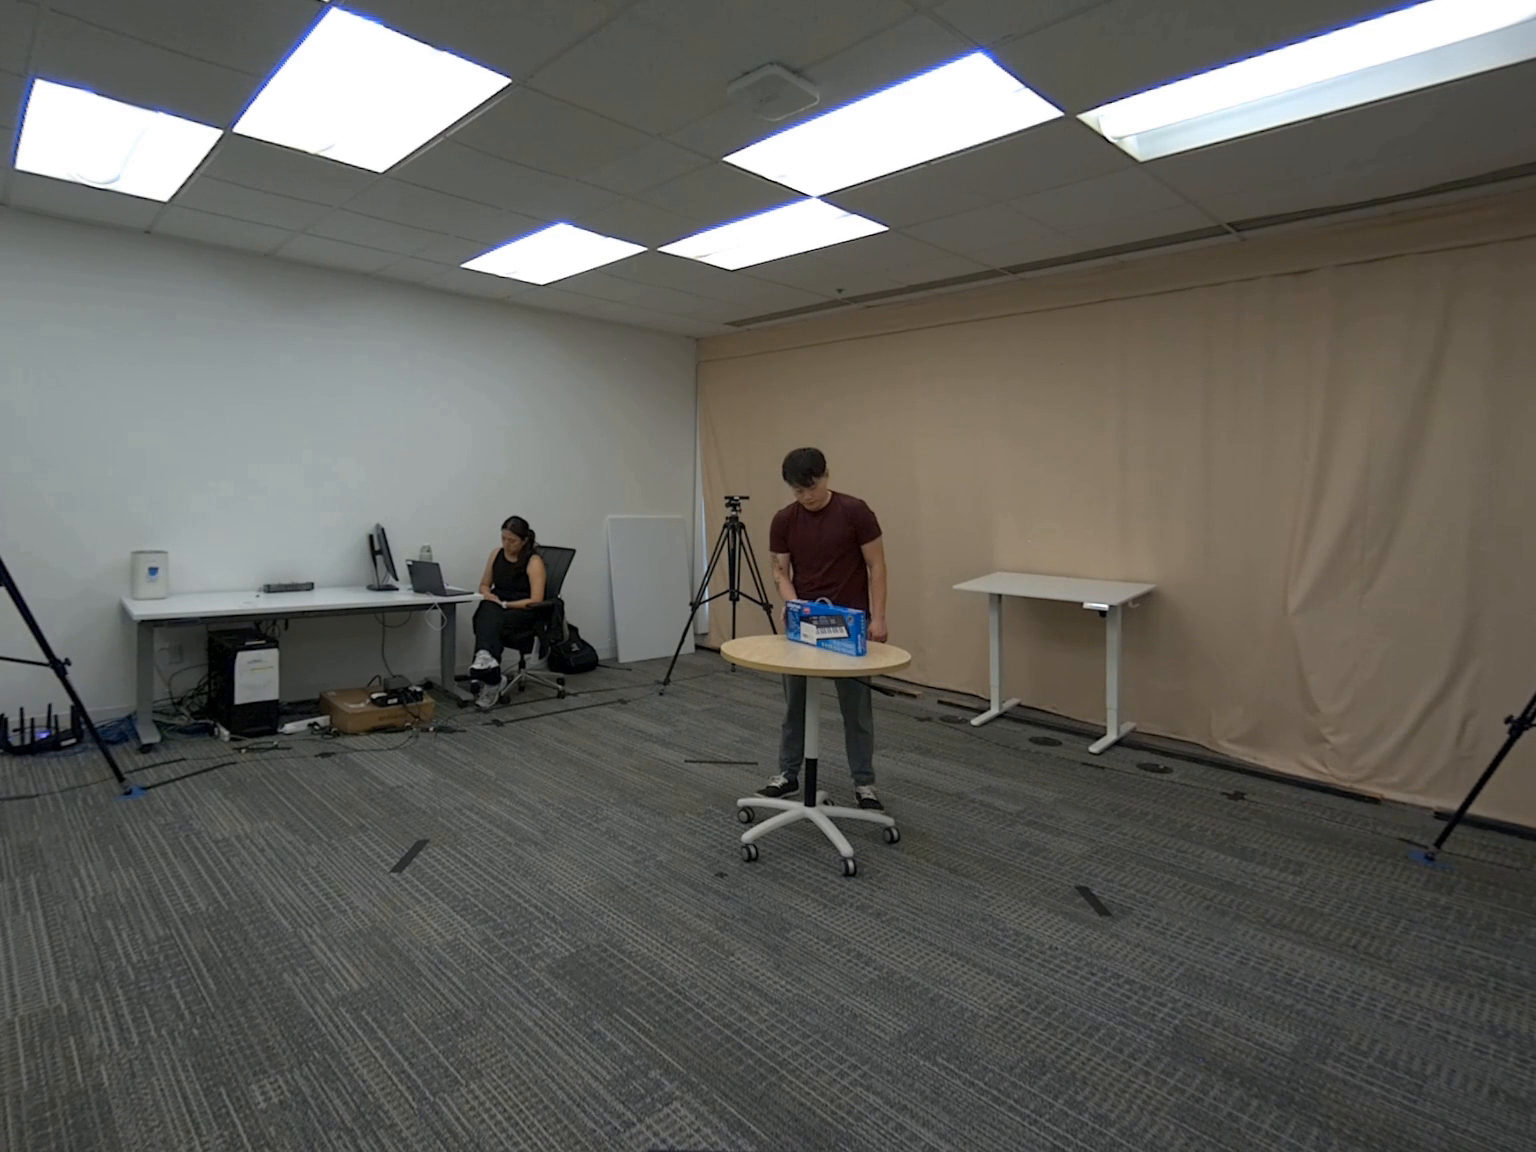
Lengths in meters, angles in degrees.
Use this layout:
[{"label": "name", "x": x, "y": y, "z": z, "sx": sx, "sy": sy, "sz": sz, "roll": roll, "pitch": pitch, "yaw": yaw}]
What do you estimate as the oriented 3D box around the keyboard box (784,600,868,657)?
[{"label": "keyboard box", "x": 0.227, "y": 0.212, "z": 3.488, "sx": 0.058, "sy": 0.175, "sz": 0.448, "roll": -5, "pitch": 8, "yaw": -35}]
